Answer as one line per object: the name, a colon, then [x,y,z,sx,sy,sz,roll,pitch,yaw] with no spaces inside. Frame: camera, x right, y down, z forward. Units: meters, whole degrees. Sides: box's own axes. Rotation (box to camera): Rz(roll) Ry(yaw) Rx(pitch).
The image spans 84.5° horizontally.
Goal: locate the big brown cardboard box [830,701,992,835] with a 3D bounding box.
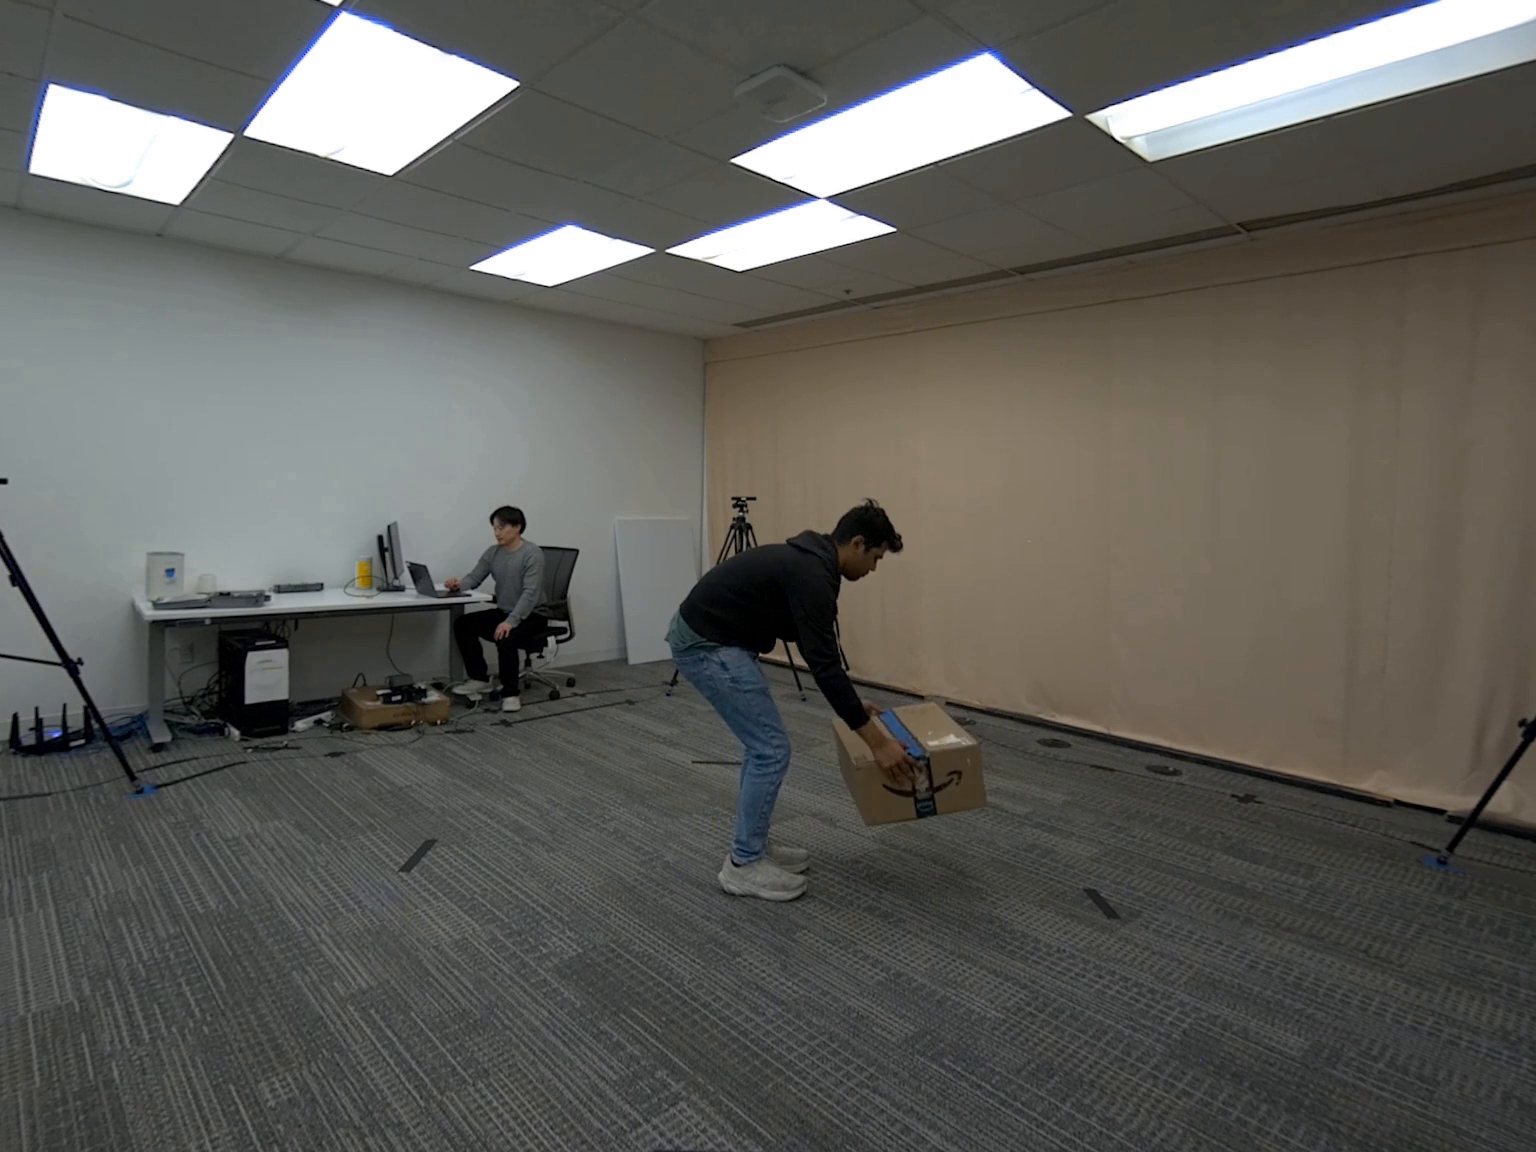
big brown cardboard box: [0.486,0.669,3.055,0.417,0.232,0.591,-9,5,-2]
